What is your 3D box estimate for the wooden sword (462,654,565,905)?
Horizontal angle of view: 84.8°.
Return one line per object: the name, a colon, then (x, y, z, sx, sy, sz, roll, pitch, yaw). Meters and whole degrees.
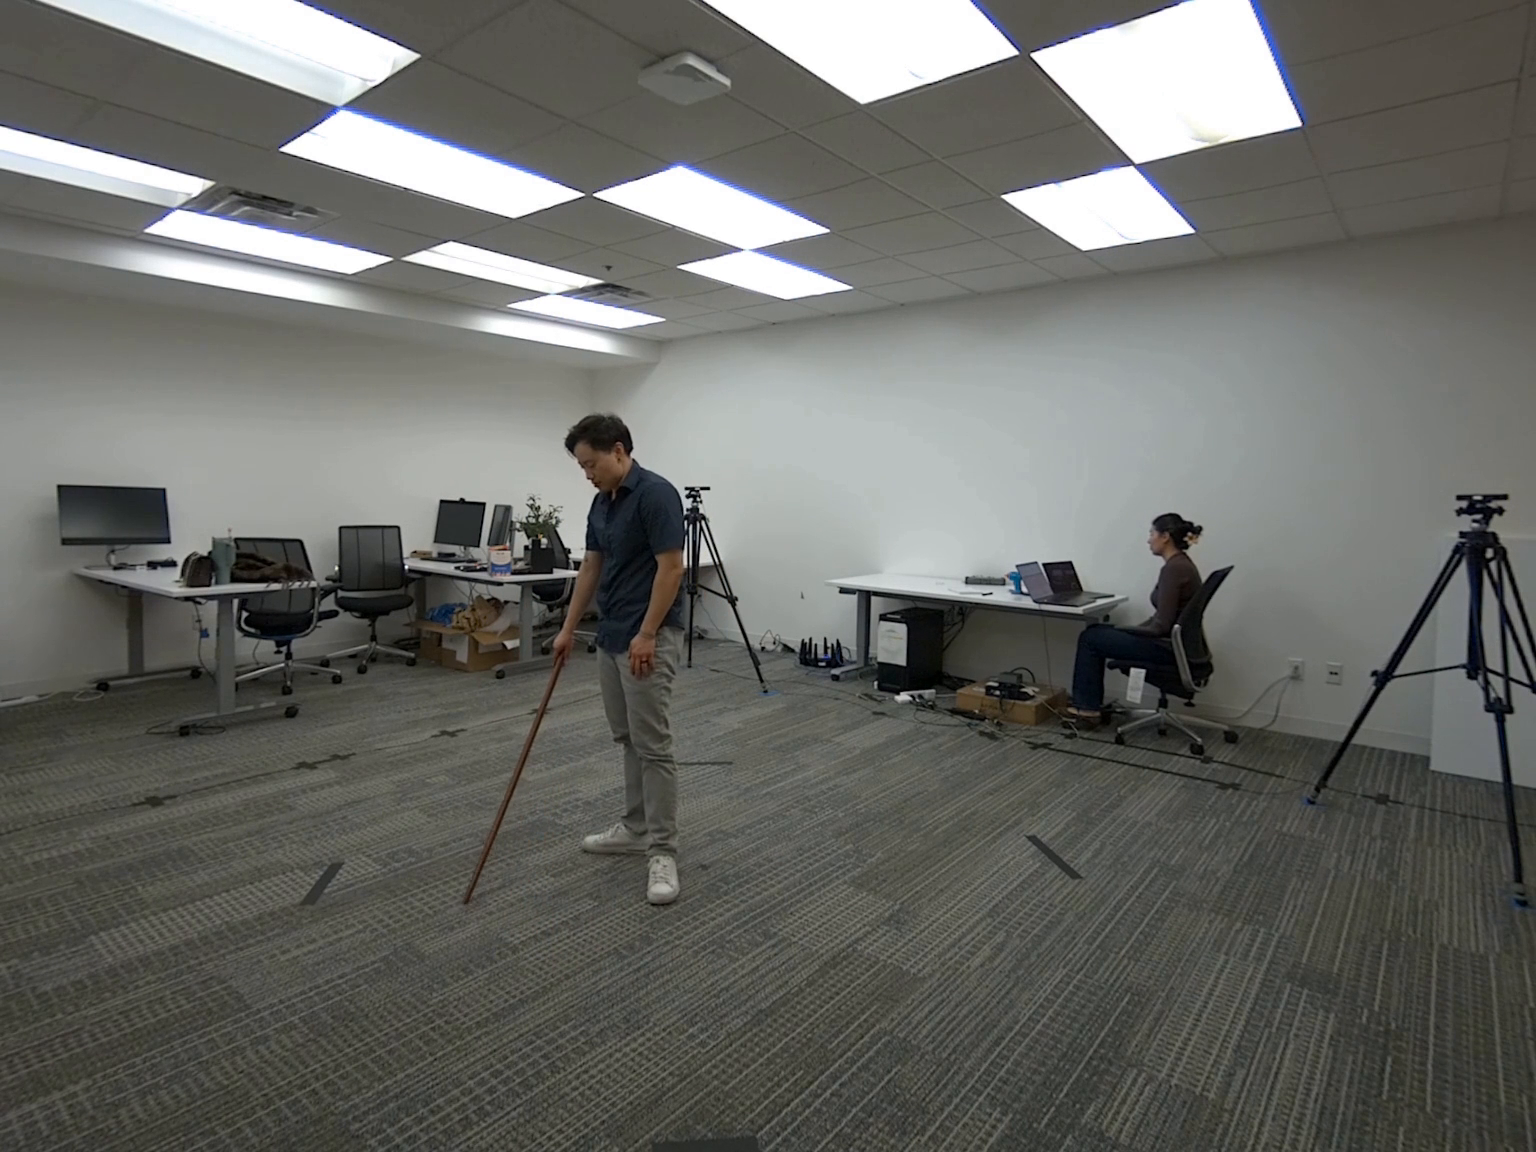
wooden sword: (-0.909, 0.676, 3.114, 0.023, 1.043, 0.051, 28, -37, -17)
